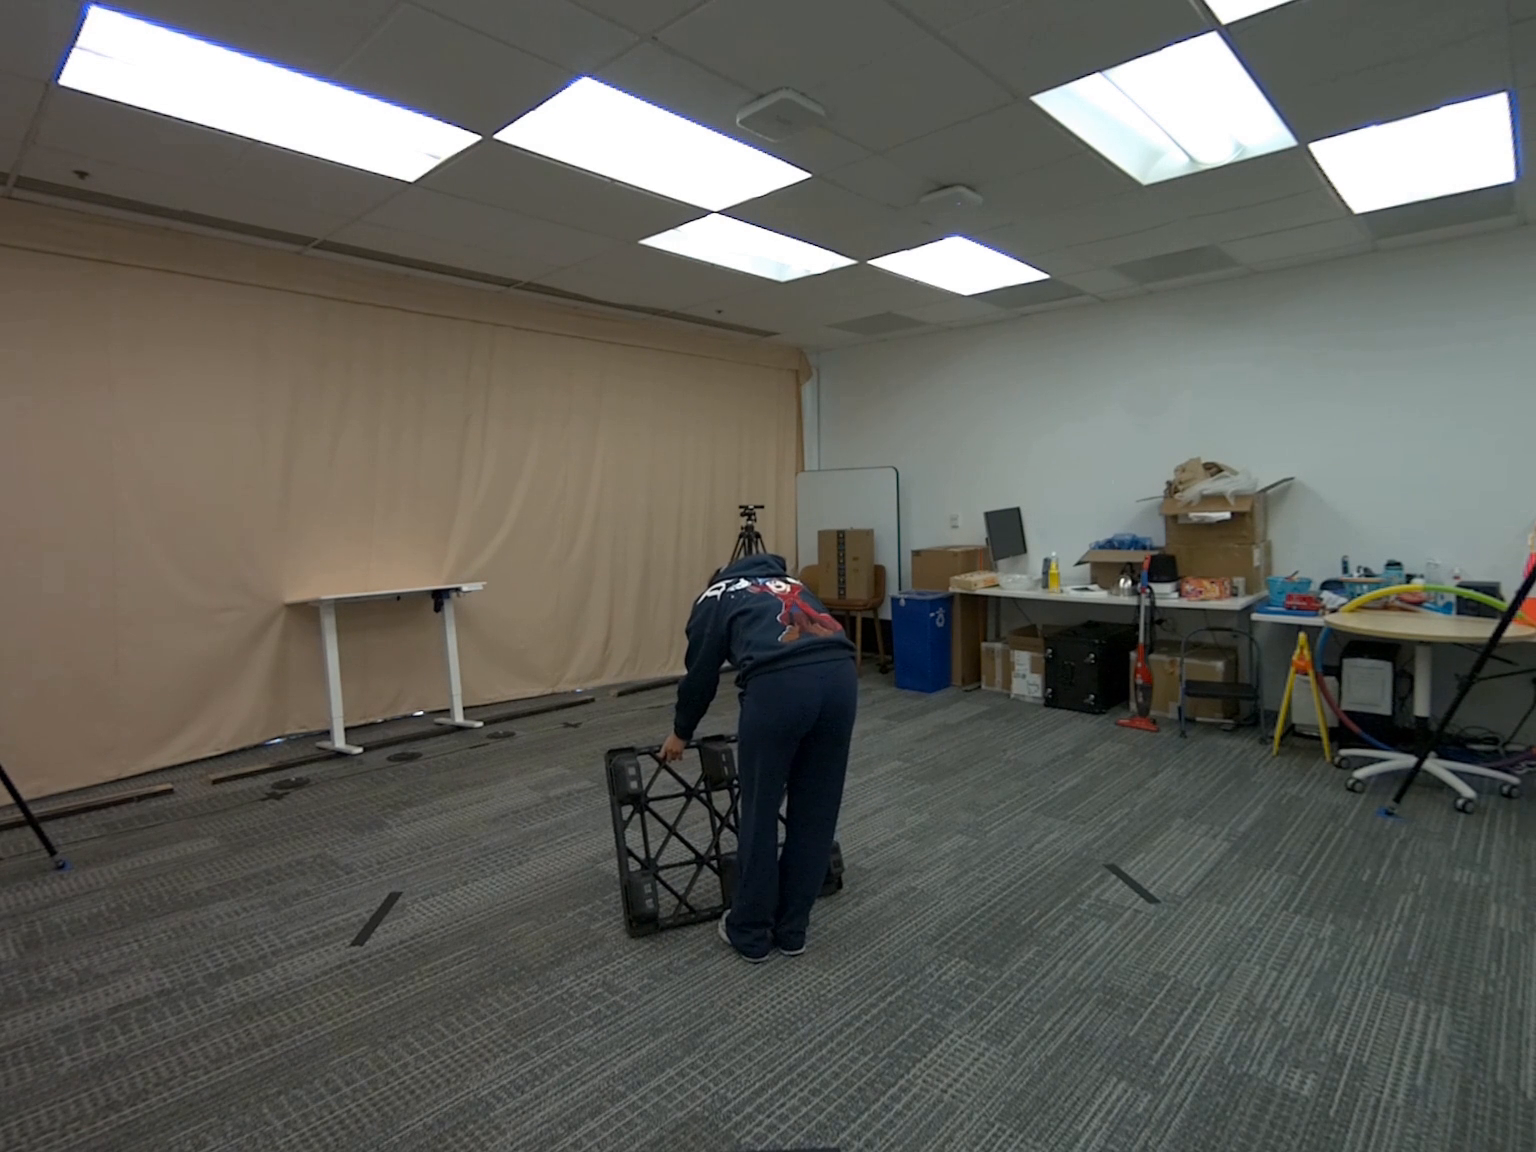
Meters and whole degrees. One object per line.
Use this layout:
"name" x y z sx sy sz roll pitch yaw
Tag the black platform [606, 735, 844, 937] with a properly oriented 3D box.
"black platform" -0.133 0.853 2.926 0.788 0.614 0.144 -4 -20 -22
